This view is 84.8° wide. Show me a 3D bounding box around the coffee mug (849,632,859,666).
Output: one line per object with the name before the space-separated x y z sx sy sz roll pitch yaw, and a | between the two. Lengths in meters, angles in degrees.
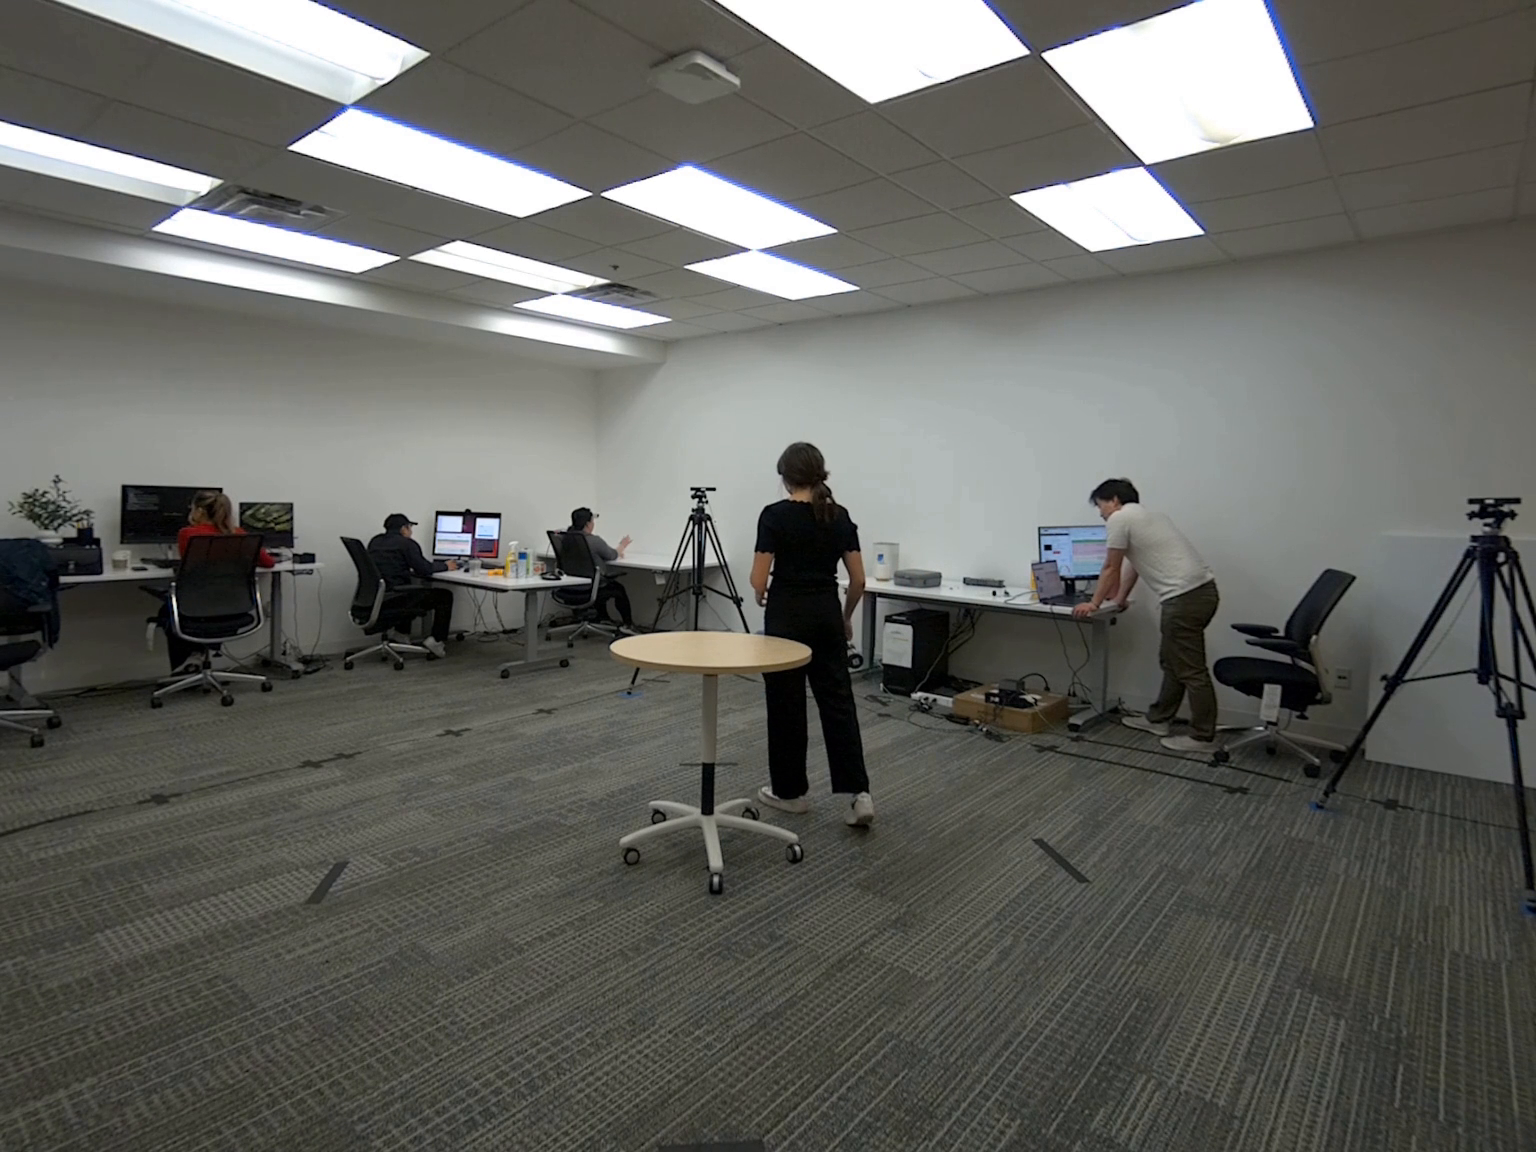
coffee mug | 0.337 0.318 3.825 0.087 0.121 0.206 0 9 -8
